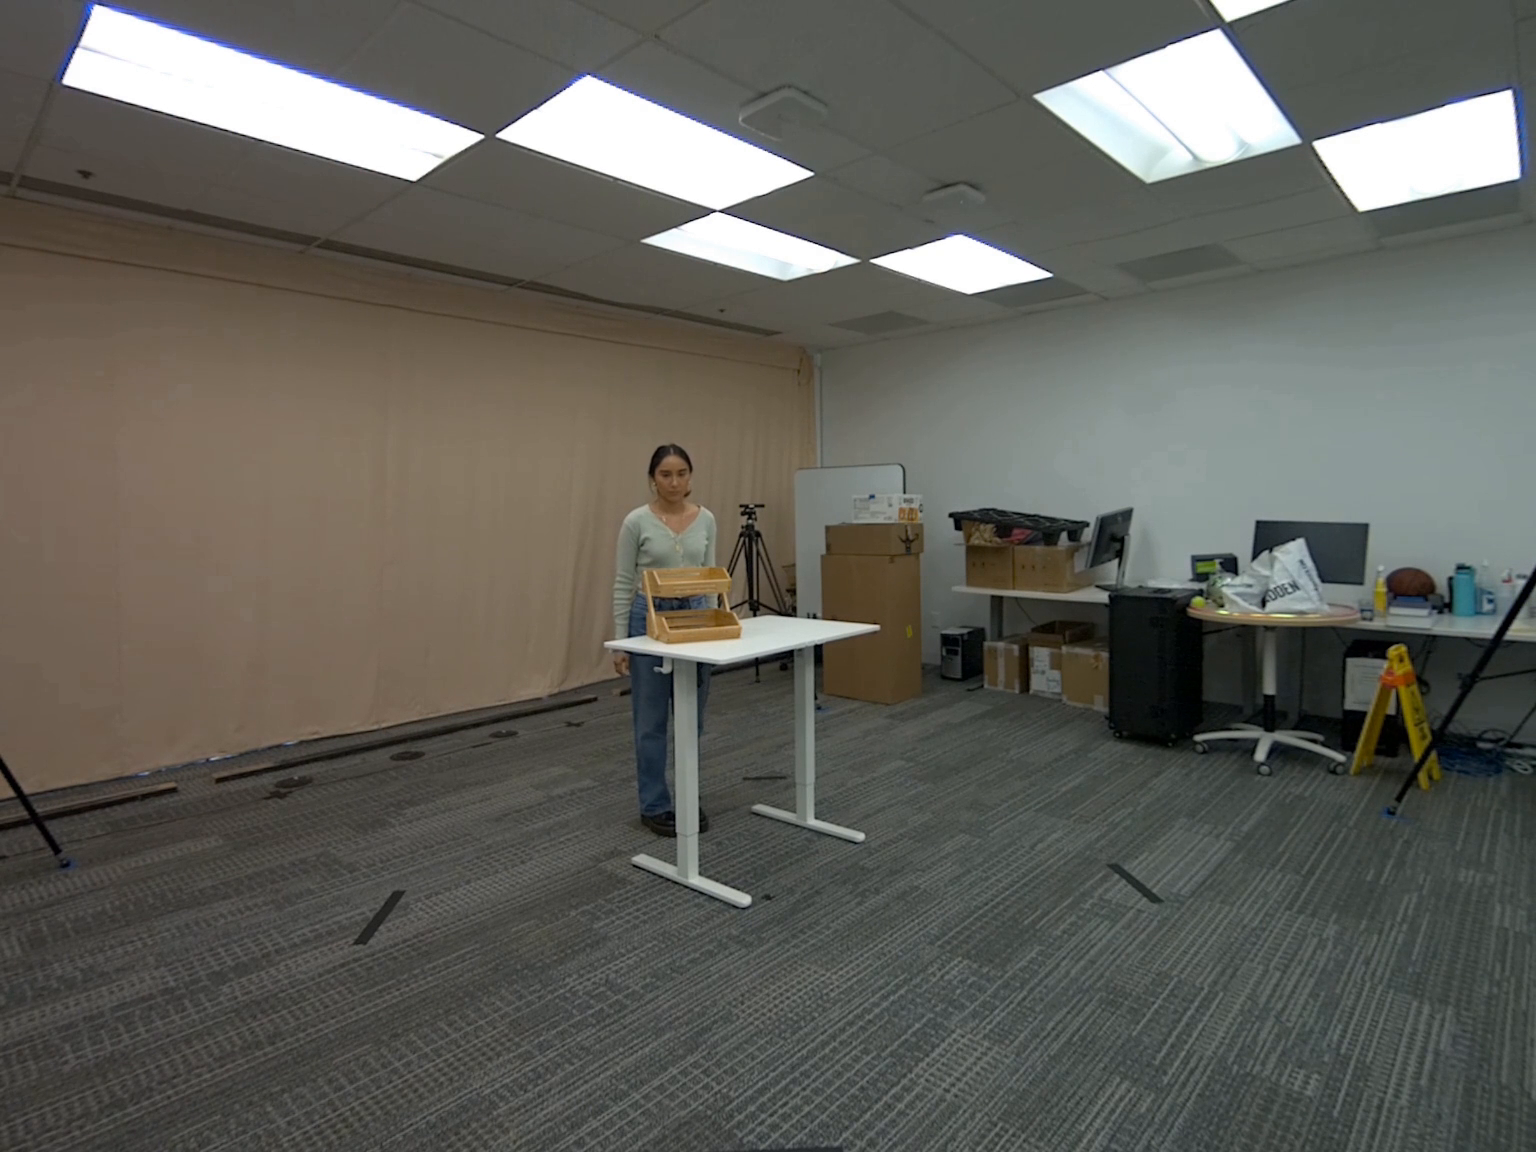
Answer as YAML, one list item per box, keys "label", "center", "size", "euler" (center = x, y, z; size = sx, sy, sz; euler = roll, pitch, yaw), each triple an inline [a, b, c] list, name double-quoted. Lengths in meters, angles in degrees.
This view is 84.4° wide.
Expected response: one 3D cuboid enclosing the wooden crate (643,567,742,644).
- label: "wooden crate"
  center: [-0.299, 0.102, 3.281]
  size: [0.317, 0.273, 0.309]
  euler: [-2, 3, -25]
